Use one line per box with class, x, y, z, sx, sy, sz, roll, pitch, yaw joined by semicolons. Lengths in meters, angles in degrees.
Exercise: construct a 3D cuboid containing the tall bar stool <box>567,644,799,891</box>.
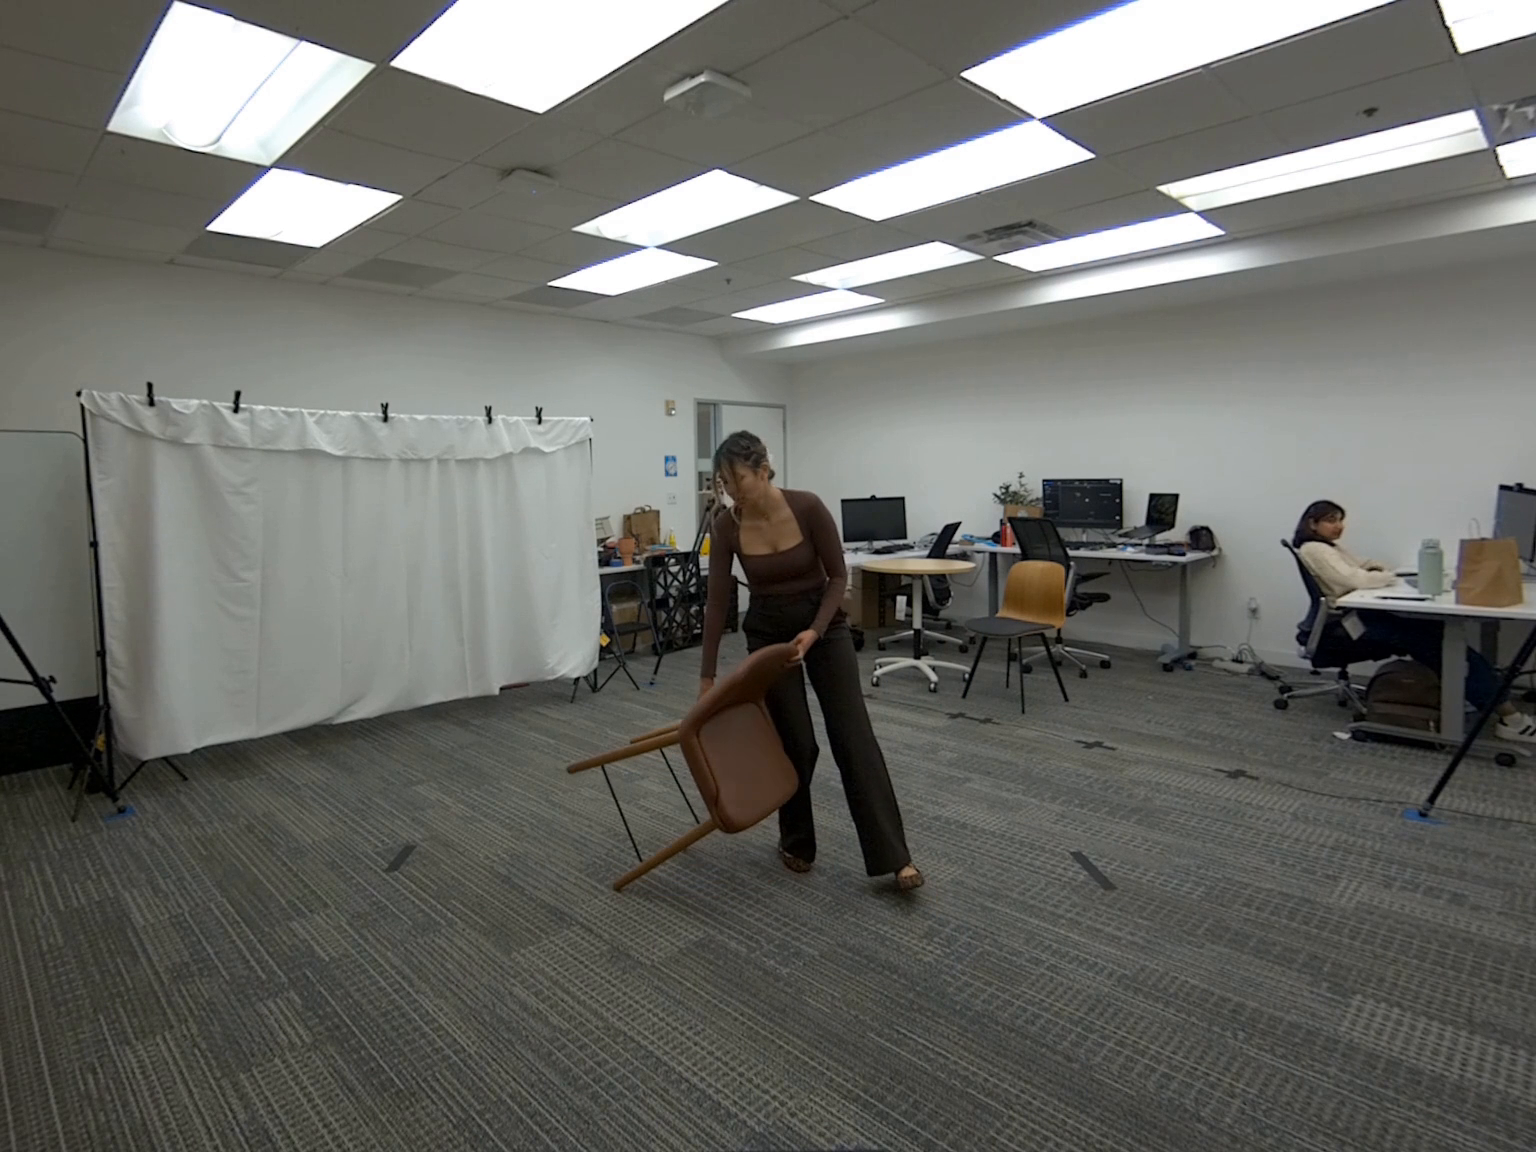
tall bar stool;-0.205;0.652;2.894;0.896;0.475;0.446;-35;-14;30
